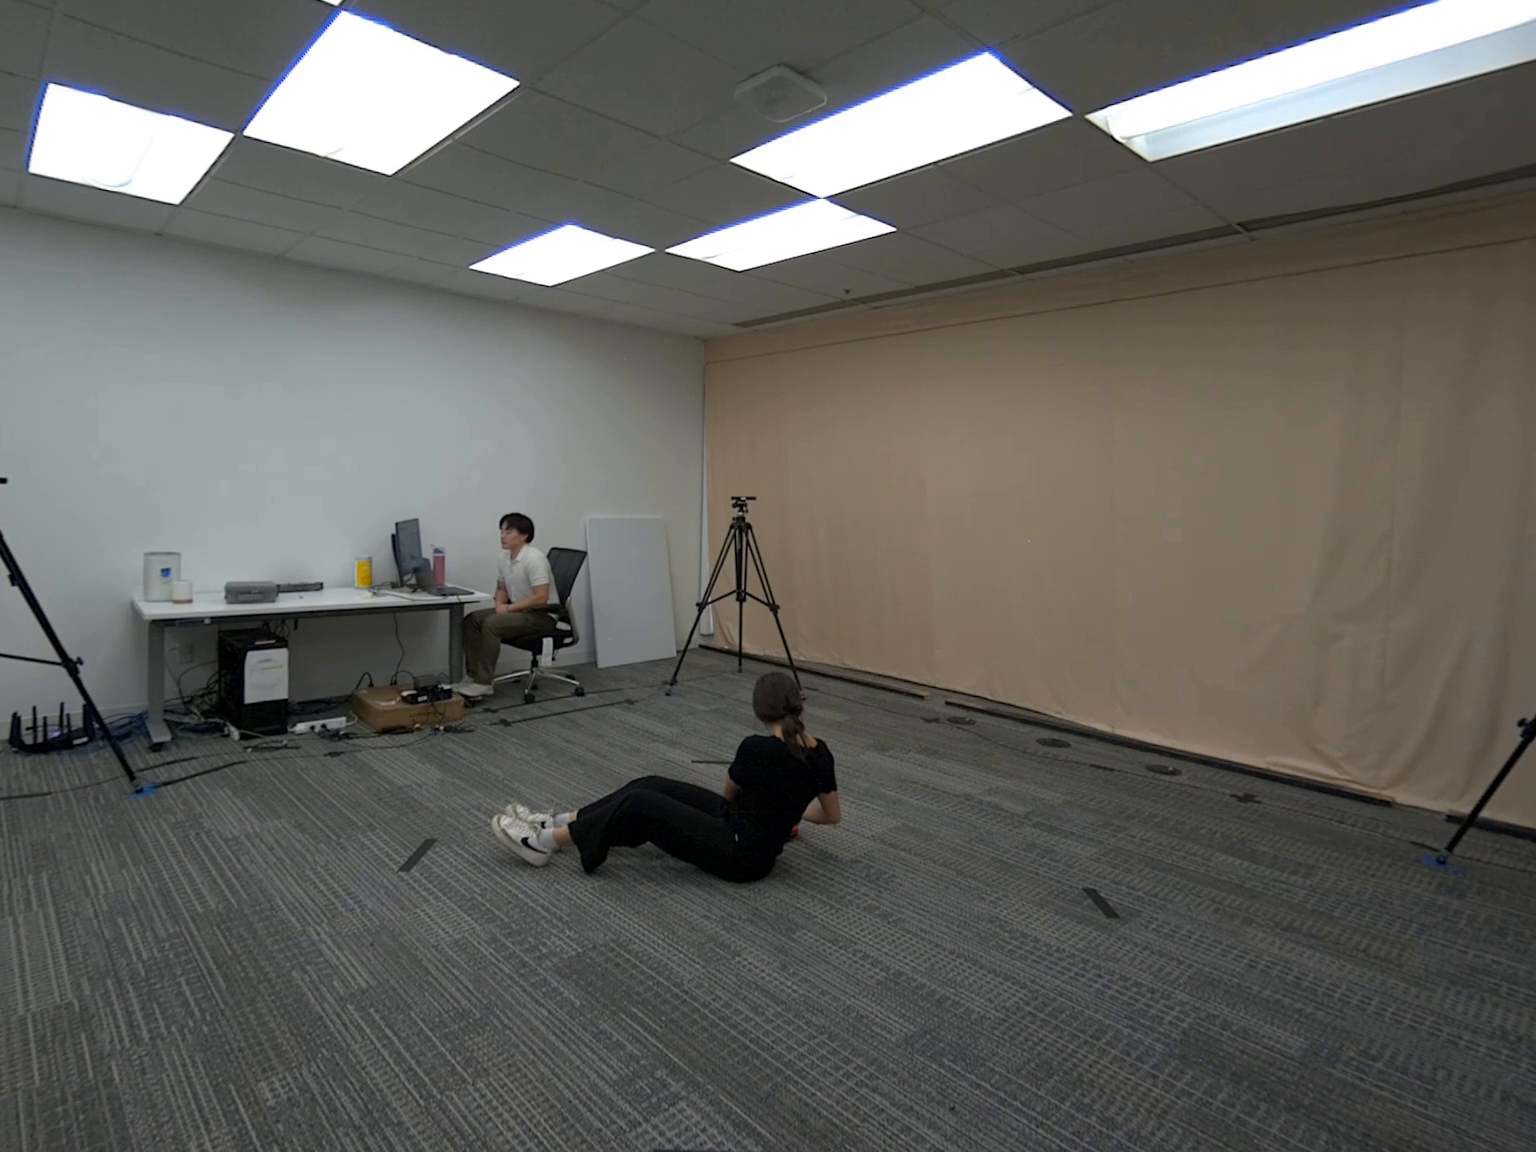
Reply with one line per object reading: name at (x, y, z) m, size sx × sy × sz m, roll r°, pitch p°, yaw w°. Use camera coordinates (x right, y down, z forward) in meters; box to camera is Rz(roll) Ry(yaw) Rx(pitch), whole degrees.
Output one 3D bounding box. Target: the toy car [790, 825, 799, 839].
toy car at (0.007, 1.041, 3.539) m, size 0.127 × 0.082 × 0.262 m, roll -2°, pitch 17°, yaw -36°
